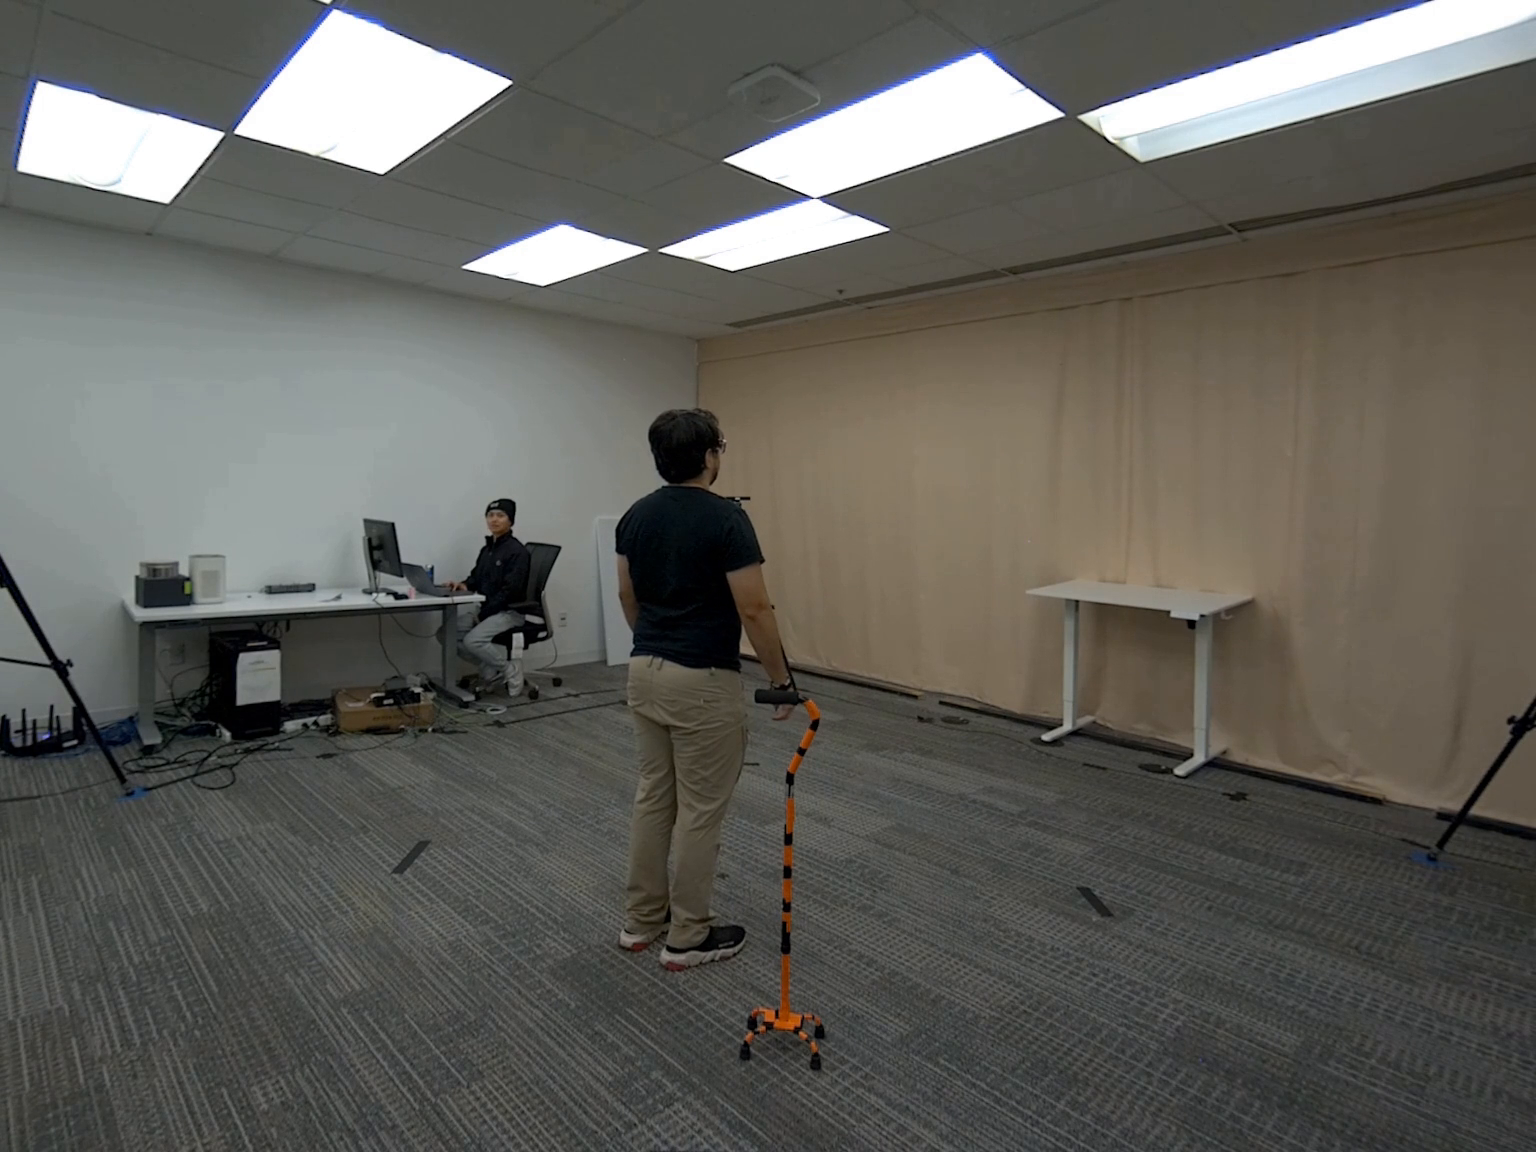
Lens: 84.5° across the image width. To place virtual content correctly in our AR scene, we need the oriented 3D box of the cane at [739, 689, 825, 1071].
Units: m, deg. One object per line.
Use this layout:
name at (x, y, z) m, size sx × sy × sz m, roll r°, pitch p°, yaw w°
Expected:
cane at (0.046, 0.755, 2.111) m, size 0.208 × 0.905 × 0.151 m, roll 2°, pitch 4°, yaw 8°
